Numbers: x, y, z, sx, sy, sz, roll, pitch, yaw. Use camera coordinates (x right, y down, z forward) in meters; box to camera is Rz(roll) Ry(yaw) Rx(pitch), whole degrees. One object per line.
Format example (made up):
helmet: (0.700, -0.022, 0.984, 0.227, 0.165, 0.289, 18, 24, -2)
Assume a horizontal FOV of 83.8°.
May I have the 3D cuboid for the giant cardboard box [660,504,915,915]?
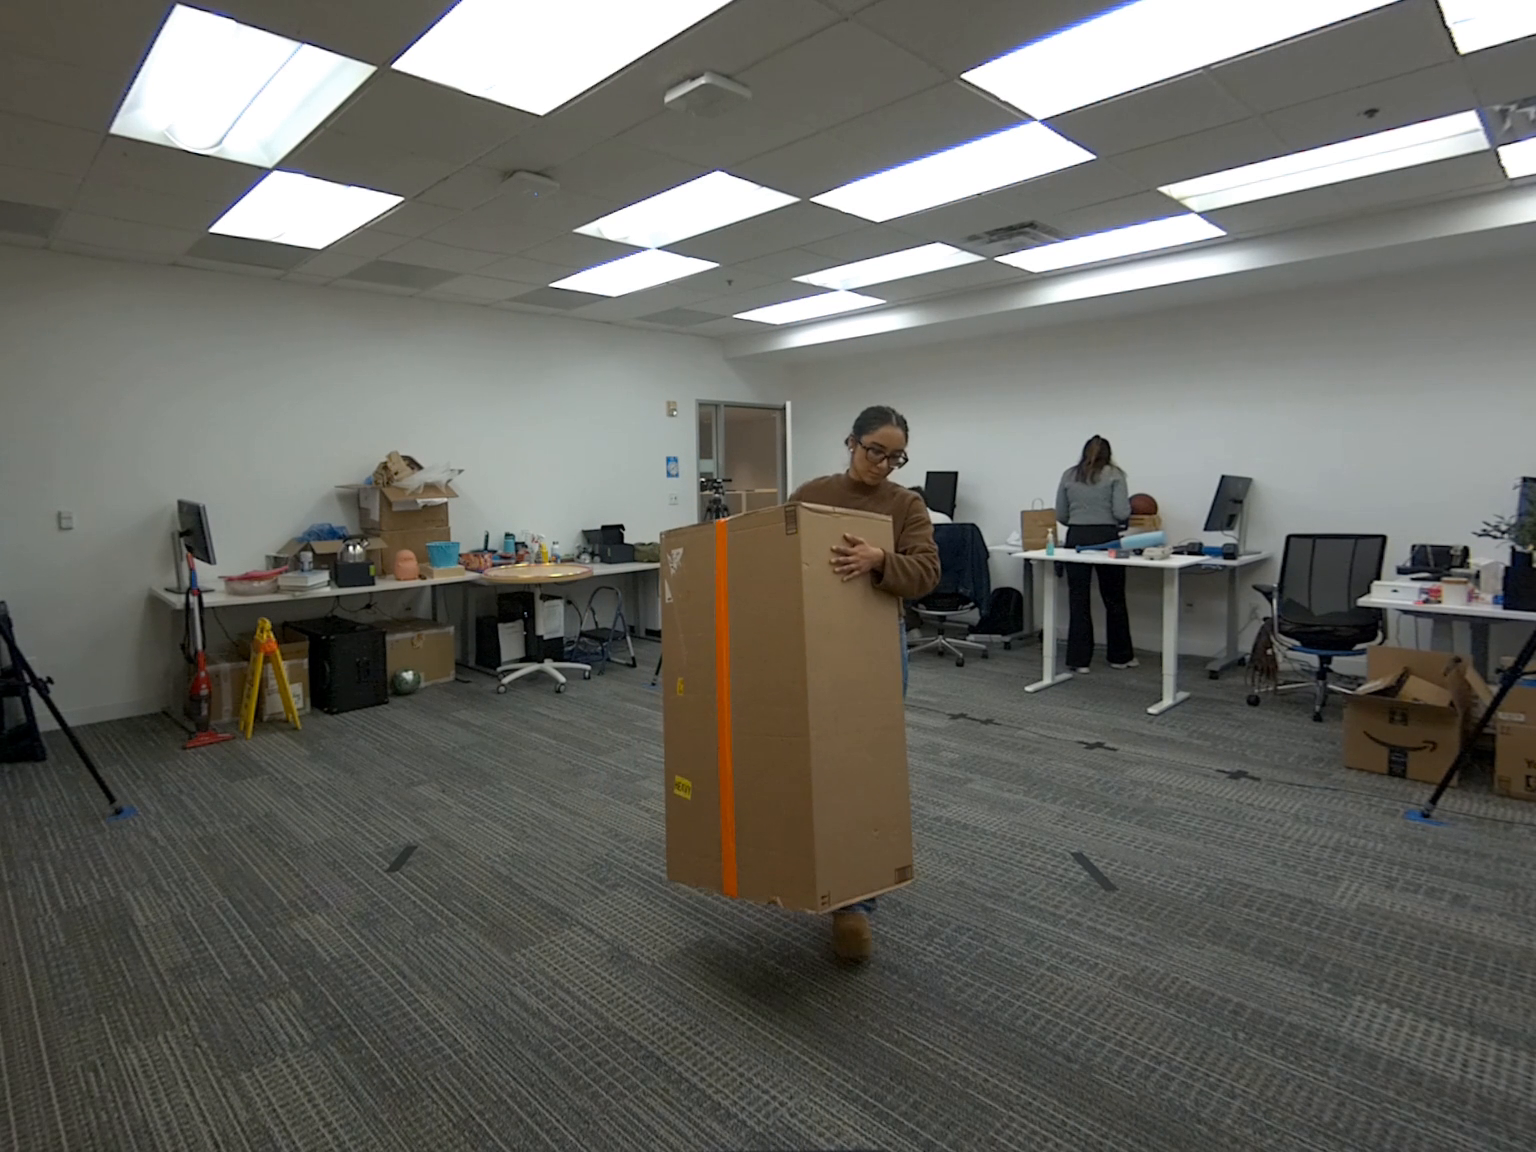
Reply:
giant cardboard box: (0.024, 0.365, 2.480, 0.591, 1.034, 0.413, -10, -11, 44)
